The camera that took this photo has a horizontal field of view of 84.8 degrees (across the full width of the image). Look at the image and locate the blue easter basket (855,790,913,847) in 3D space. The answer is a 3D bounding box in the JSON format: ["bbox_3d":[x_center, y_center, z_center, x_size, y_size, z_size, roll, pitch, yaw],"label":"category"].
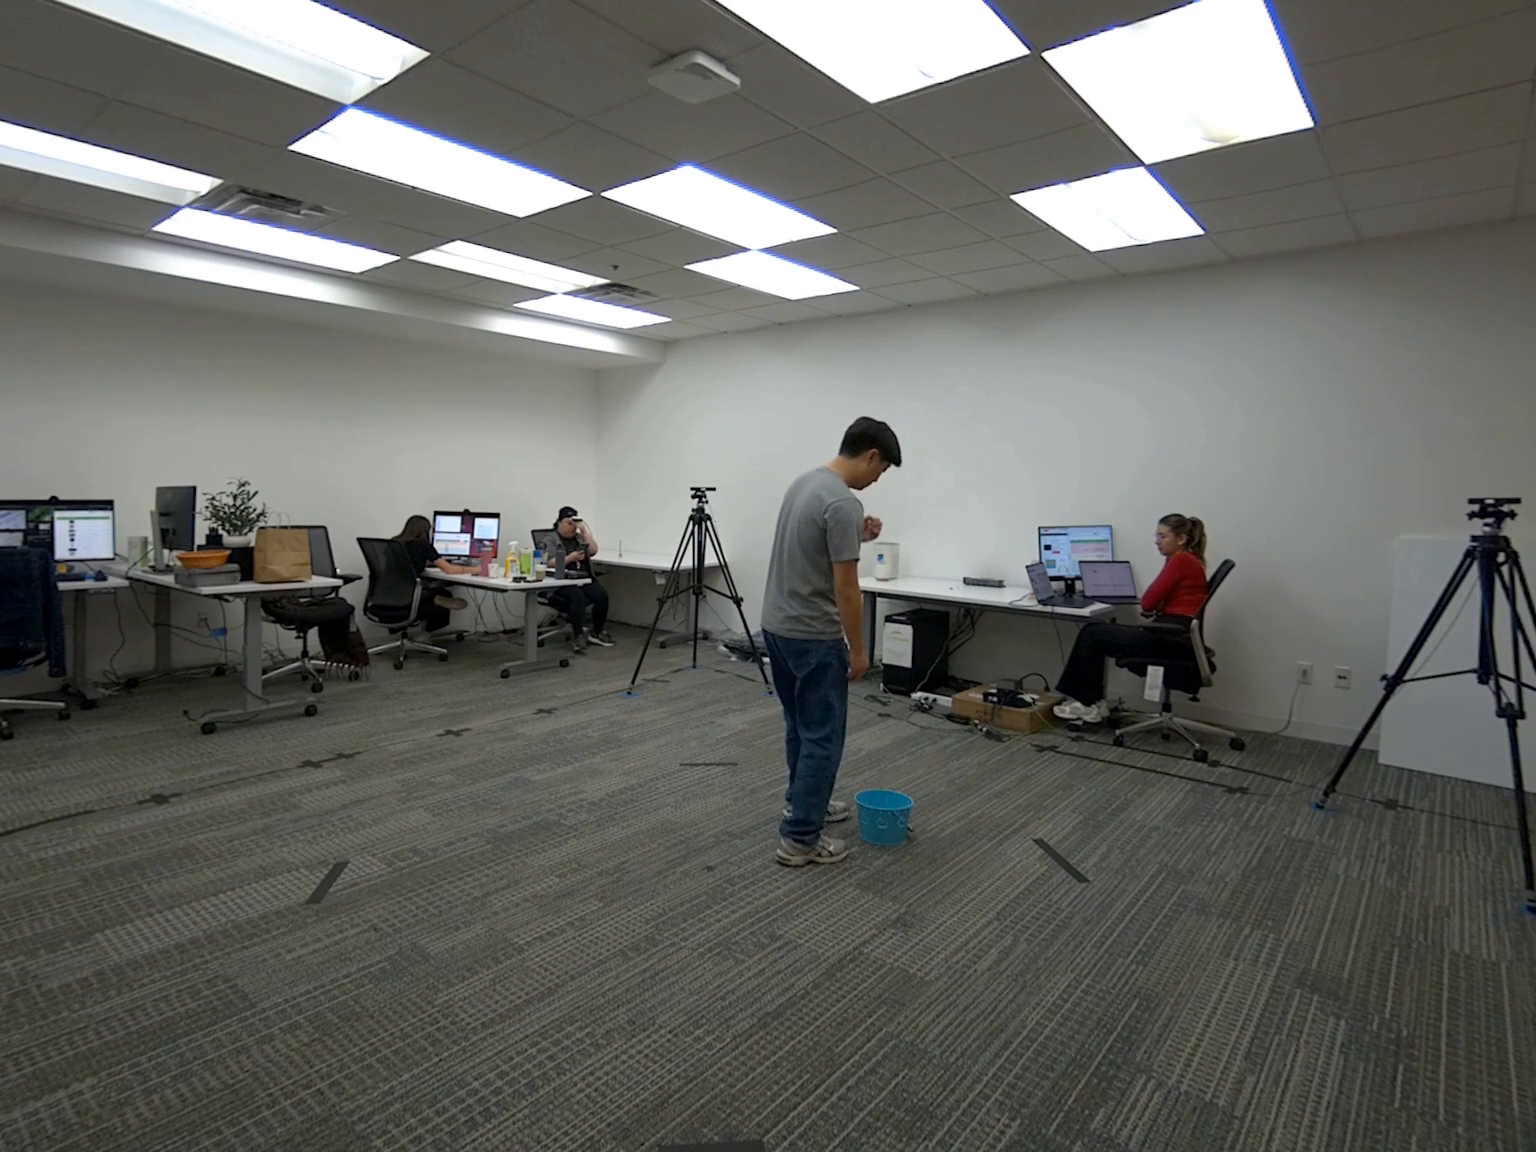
[{"bbox_3d":[0.461,0.970,3.431,0.243,0.155,0.245,1,5,-2],"label":"blue easter basket"}]
